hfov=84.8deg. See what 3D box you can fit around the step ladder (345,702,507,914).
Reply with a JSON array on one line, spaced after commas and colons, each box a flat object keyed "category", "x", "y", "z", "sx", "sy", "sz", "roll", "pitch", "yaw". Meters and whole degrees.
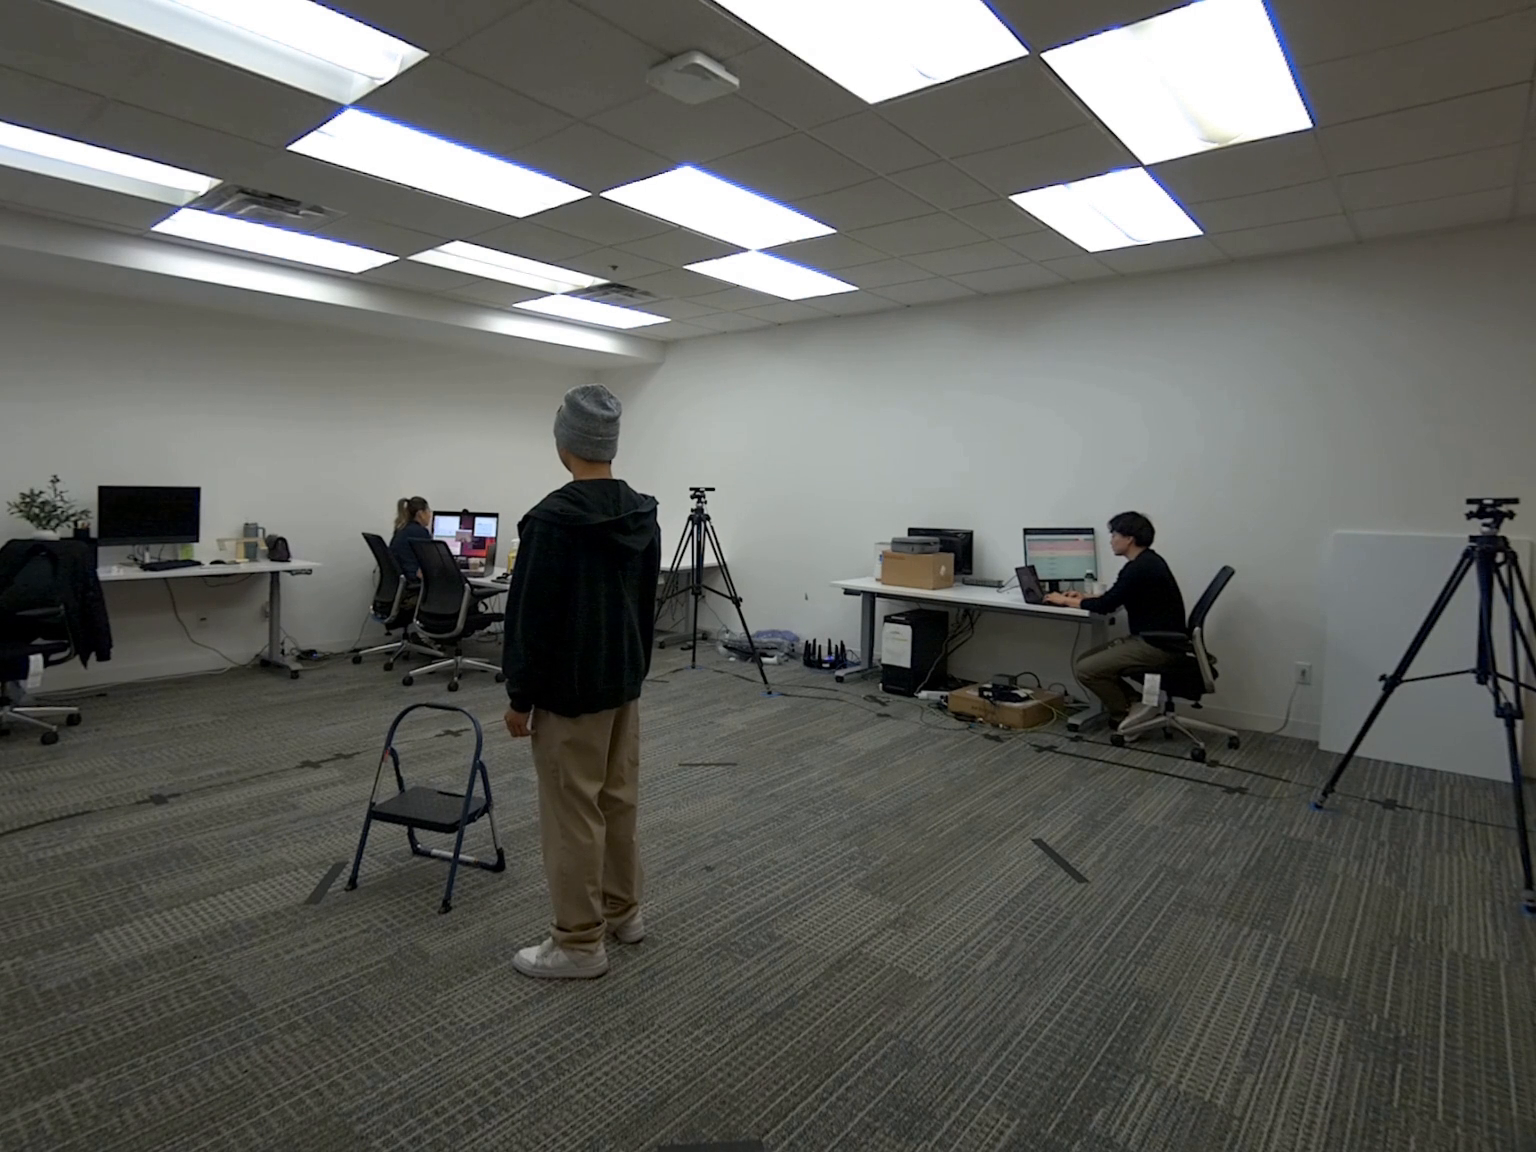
[{"category": "step ladder", "x": -1.205, "y": 0.765, "z": 2.976, "sx": 0.440, "sy": 0.604, "sz": 0.343, "roll": 2, "pitch": 4, "yaw": 19}]
